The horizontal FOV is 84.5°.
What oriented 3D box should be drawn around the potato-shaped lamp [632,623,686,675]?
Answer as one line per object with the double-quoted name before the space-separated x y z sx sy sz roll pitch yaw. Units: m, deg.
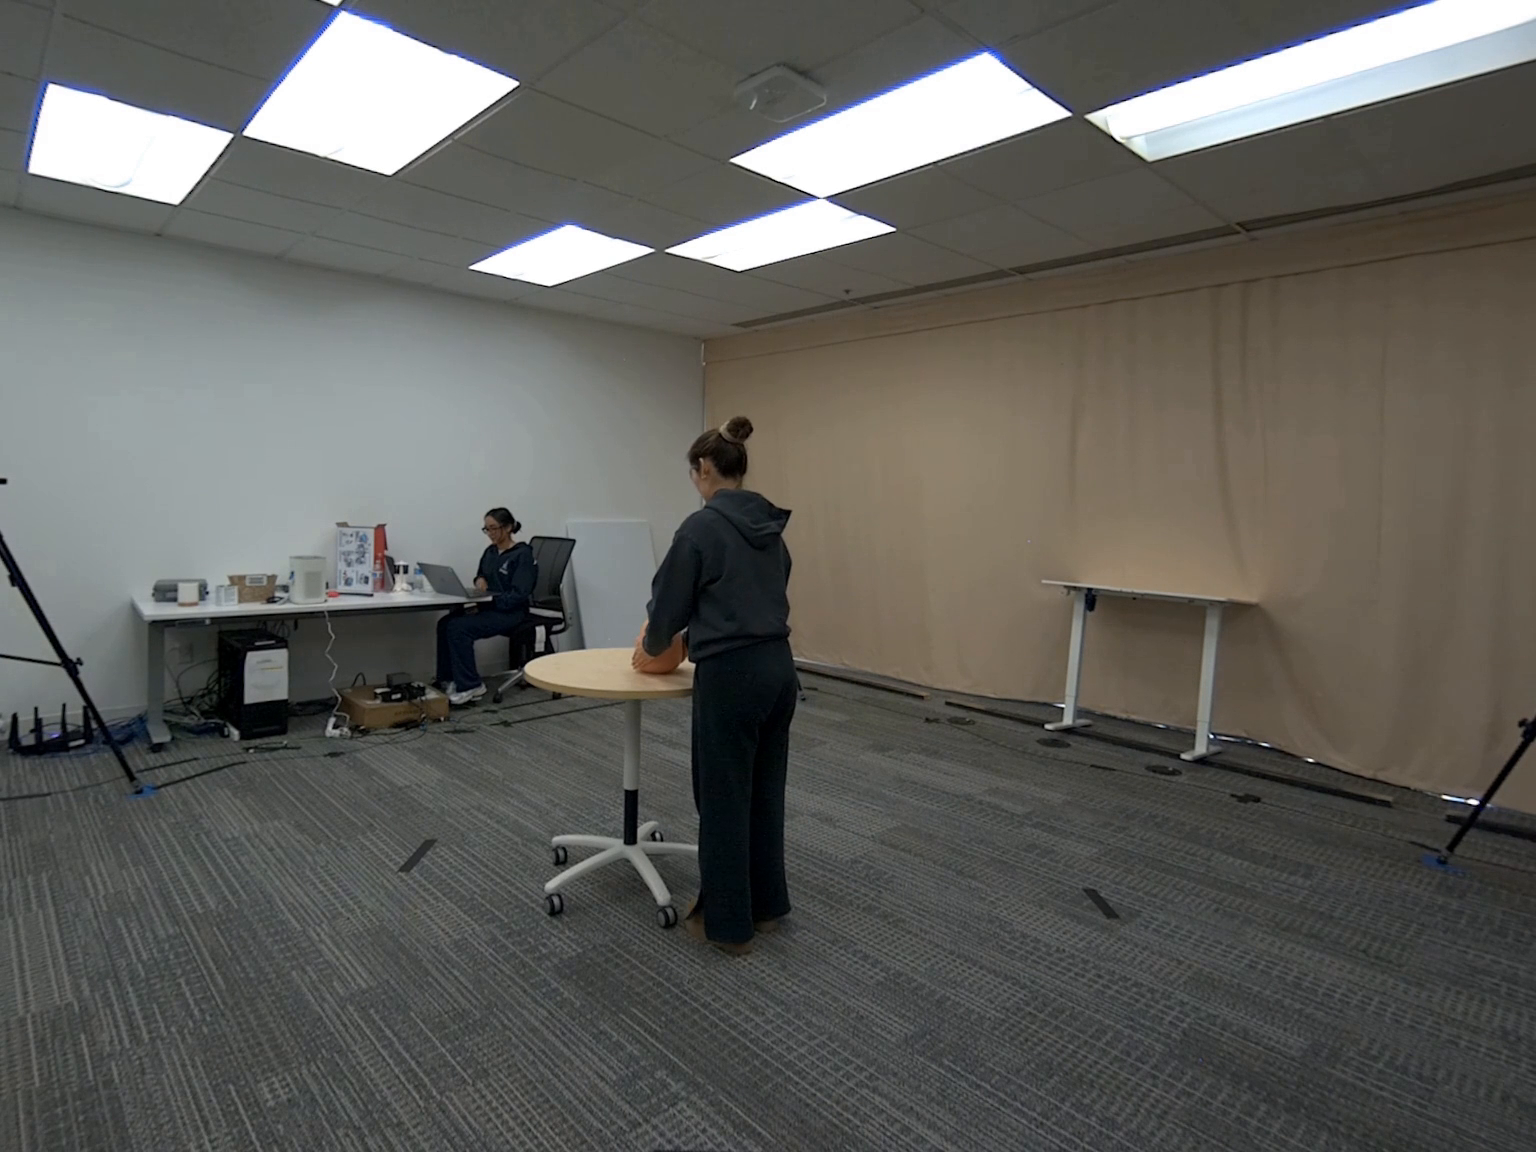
"potato-shaped lamp" -0.384 0.238 2.938 0.176 0.197 0.161 5 6 40
